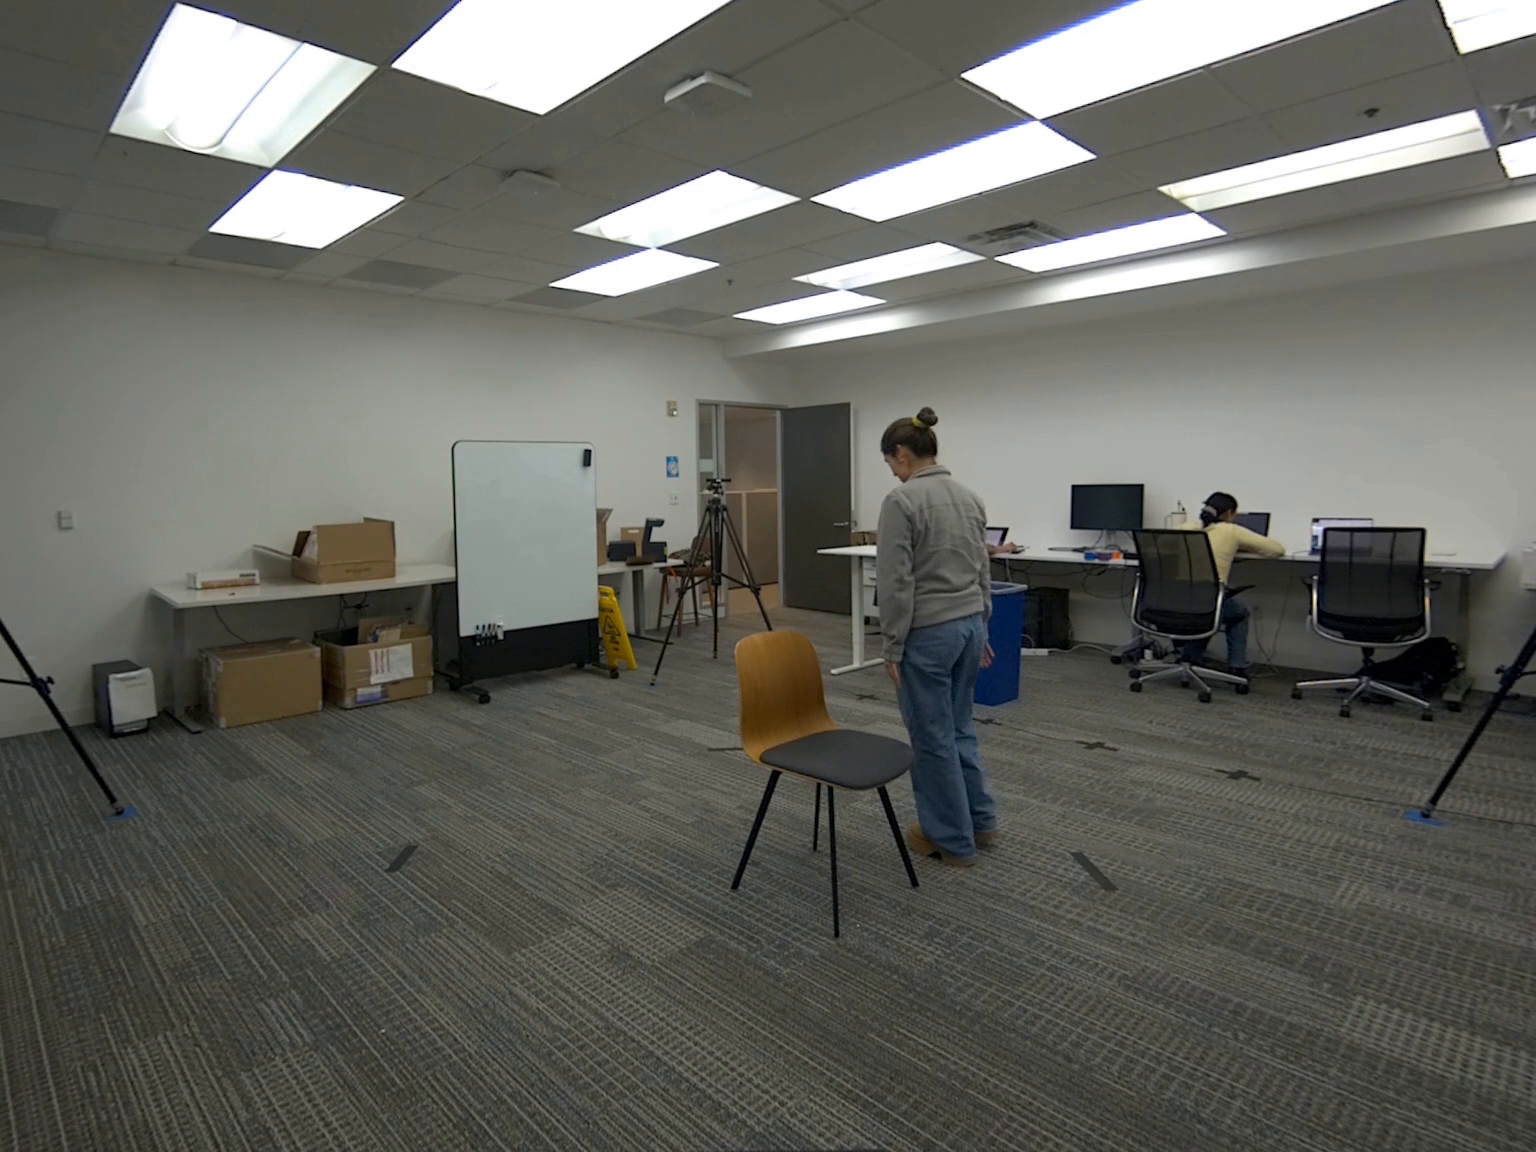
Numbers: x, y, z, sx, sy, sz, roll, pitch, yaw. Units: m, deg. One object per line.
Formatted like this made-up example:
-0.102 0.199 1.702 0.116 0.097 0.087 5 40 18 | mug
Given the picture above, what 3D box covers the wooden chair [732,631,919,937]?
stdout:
0.192 0.639 2.866 0.538 0.877 0.465 -3 1 44 | wooden chair
